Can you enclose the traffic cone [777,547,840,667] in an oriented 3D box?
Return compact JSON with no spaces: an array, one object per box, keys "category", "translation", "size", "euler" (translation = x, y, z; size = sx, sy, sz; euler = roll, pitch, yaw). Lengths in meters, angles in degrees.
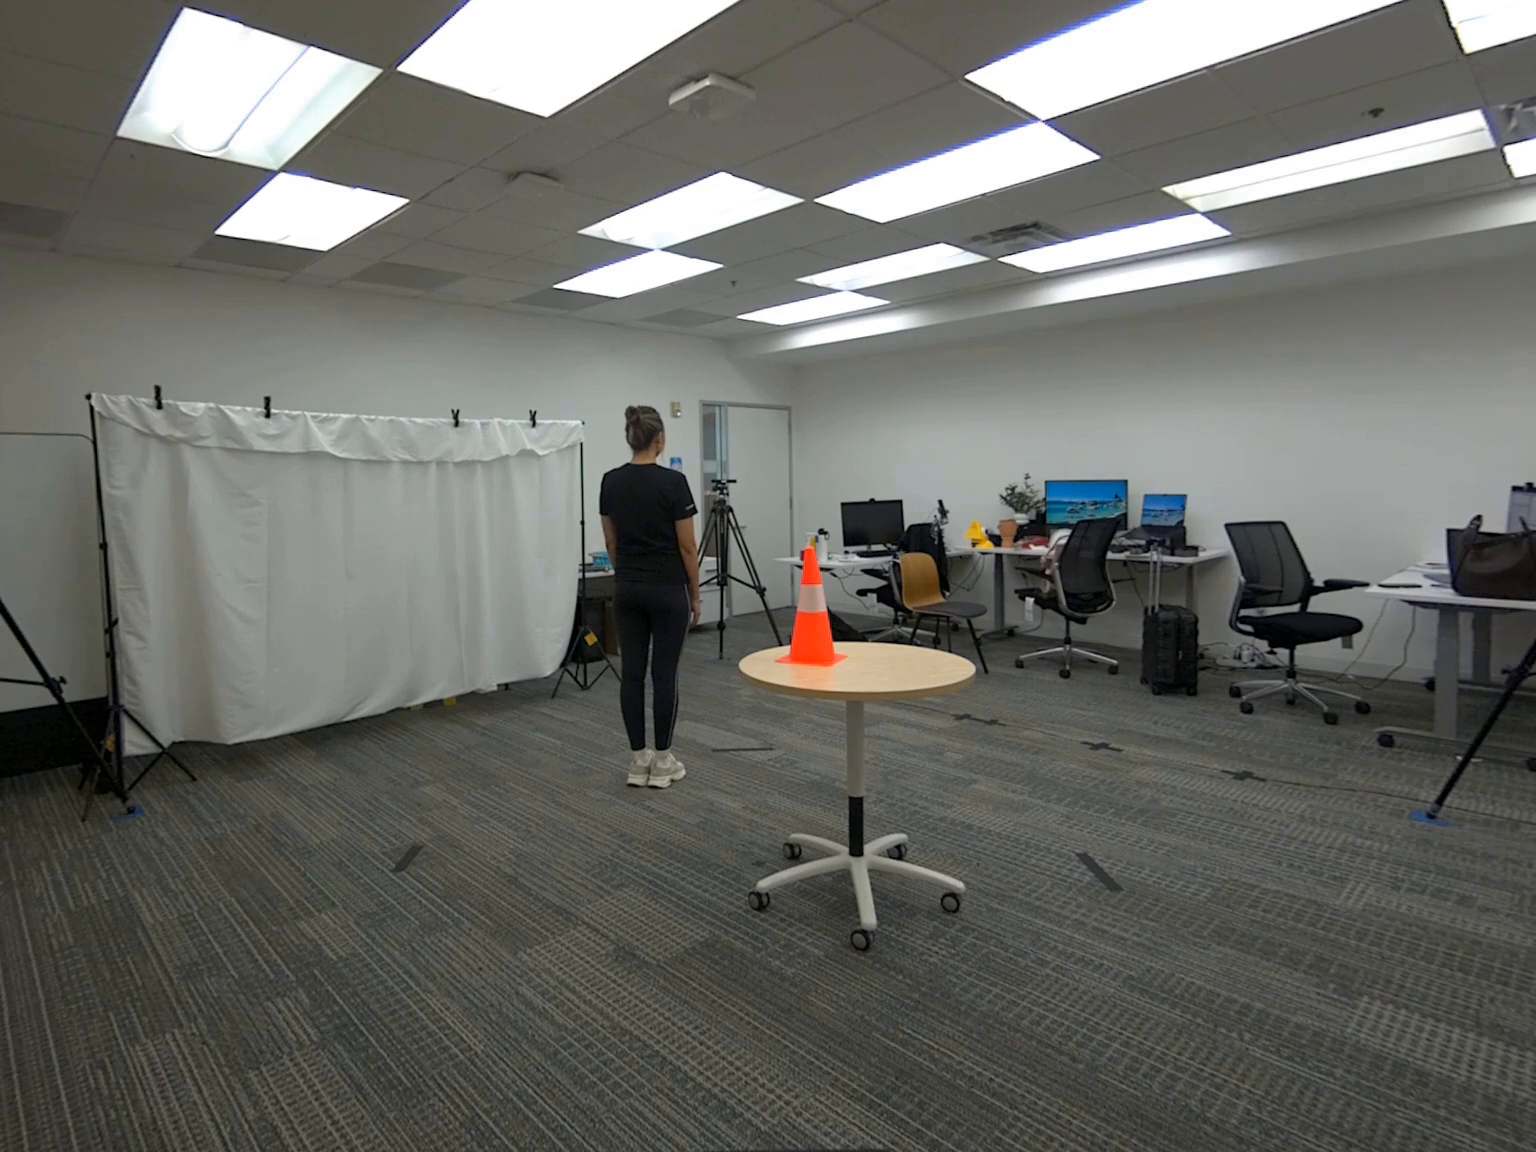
[{"category":"traffic cone","translation":[0.154,0.099,2.891],"size":[0.210,0.382,0.199],"euler":[1,7,28]}]
